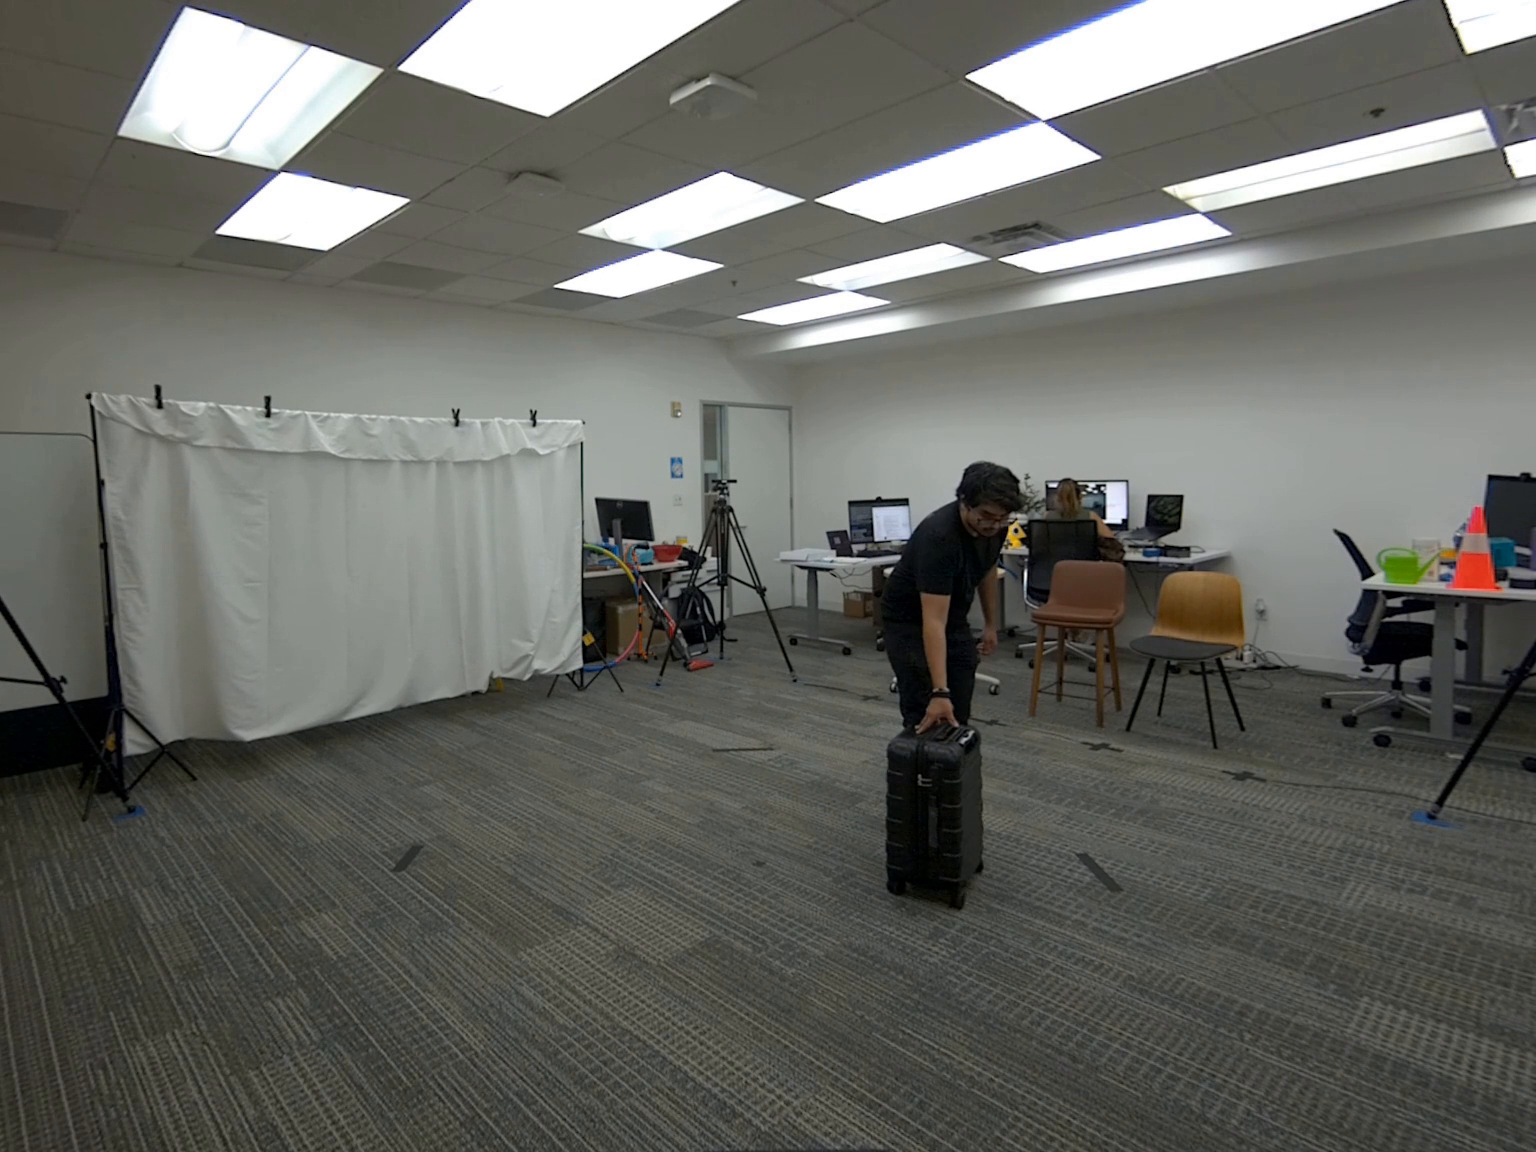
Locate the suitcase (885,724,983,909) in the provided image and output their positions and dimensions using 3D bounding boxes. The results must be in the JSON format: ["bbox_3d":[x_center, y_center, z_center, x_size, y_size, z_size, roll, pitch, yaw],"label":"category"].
[{"bbox_3d":[0.573,0.783,2.915,0.255,0.547,0.367,1,5,29],"label":"suitcase"}]
